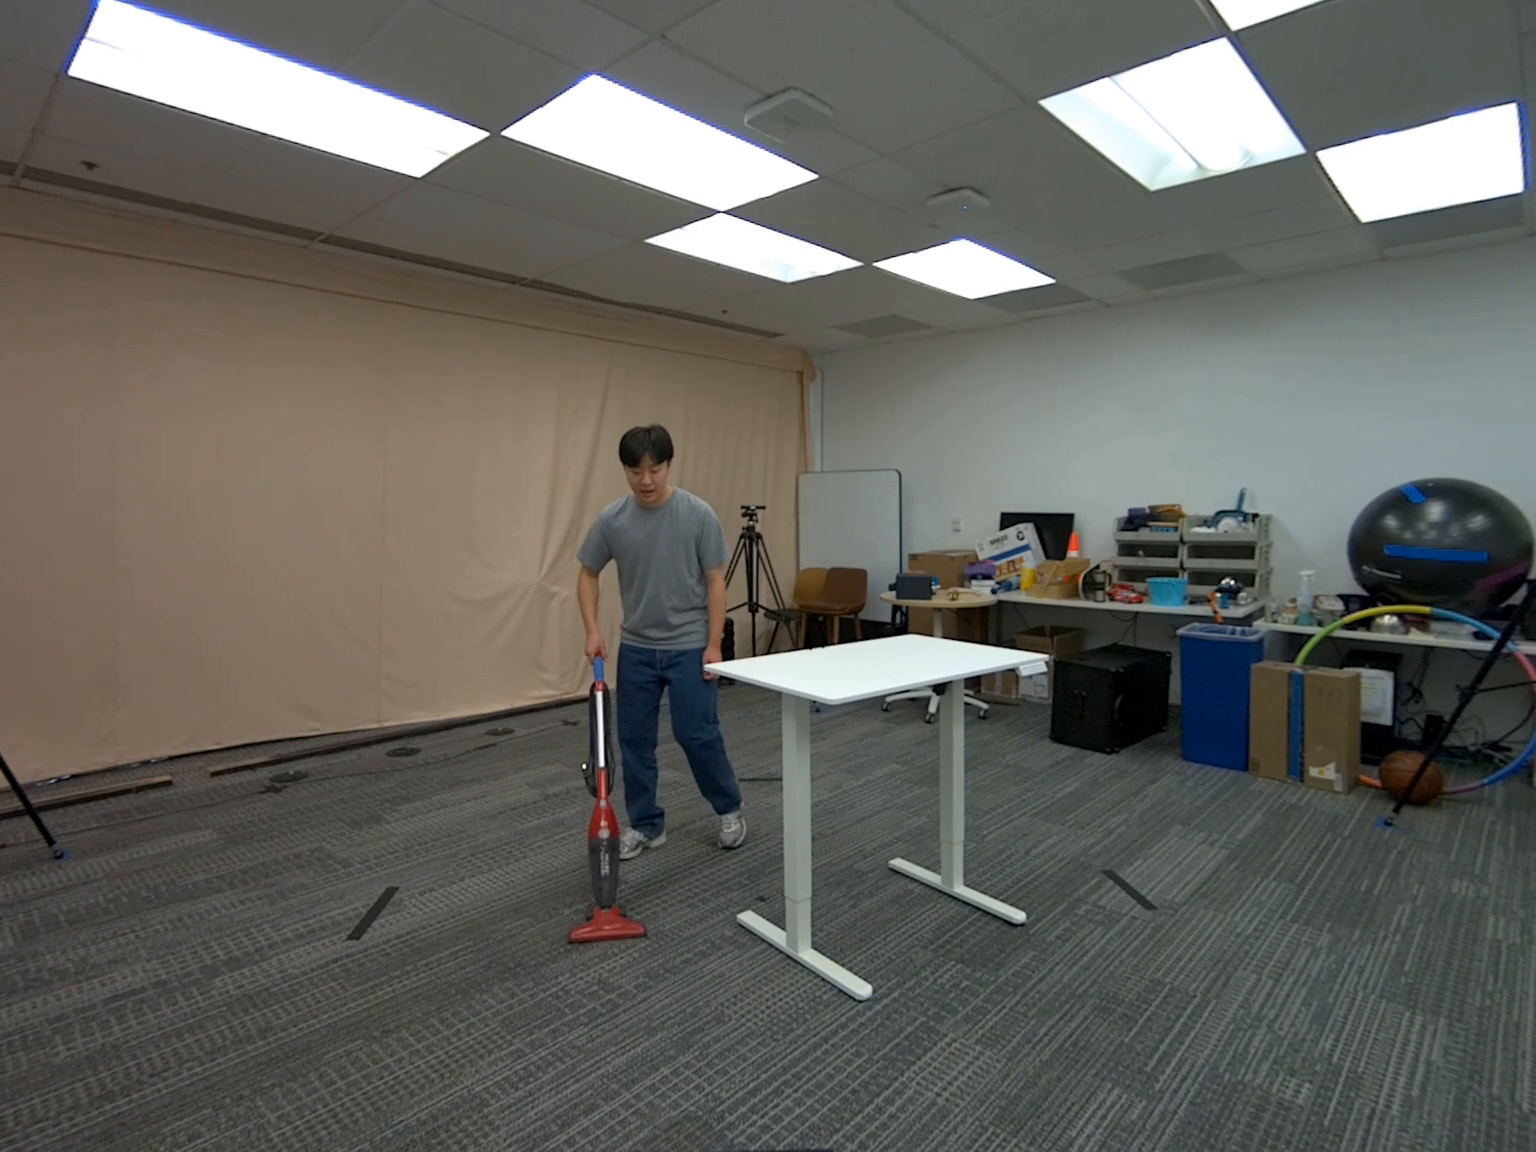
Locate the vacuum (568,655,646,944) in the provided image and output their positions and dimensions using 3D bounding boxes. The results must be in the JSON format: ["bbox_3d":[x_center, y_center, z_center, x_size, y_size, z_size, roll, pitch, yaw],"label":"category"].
[{"bbox_3d":[-0.593,0.729,3.034,0.249,1.073,0.143,-1,-35,-14],"label":"vacuum"}]
